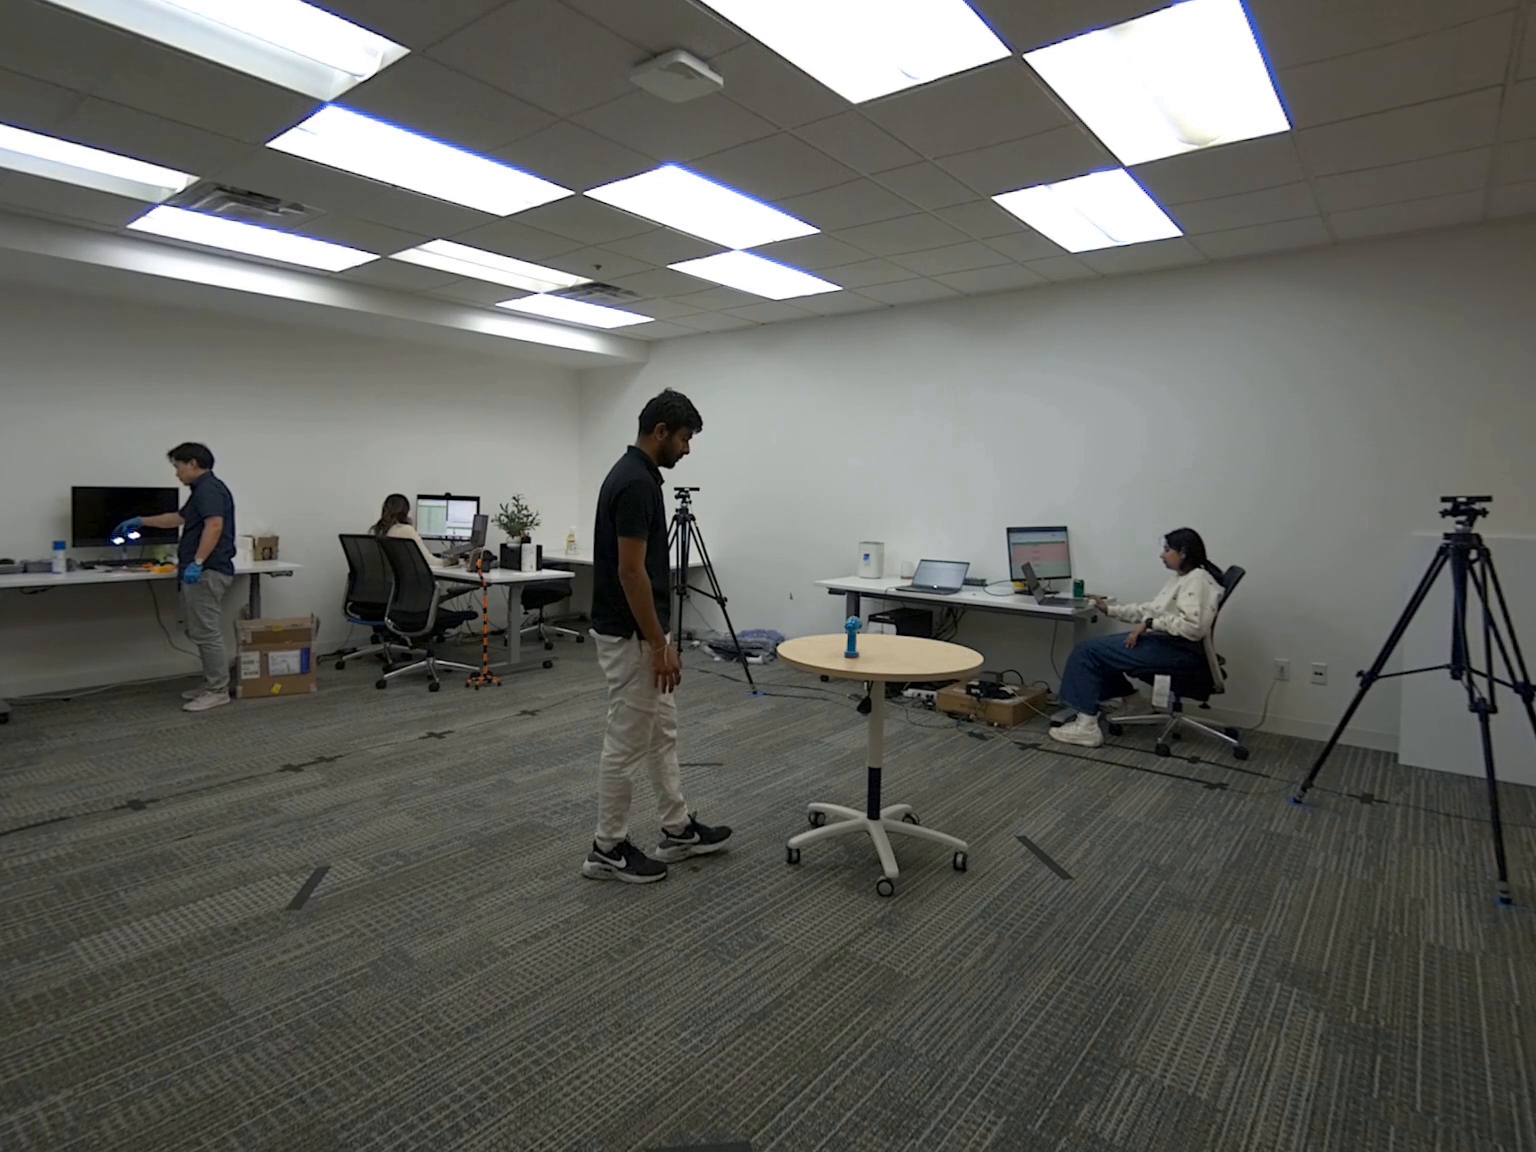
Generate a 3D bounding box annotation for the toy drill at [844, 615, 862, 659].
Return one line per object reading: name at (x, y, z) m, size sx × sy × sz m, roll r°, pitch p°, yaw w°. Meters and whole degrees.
toy drill at (0.312, 0.219, 3.151) m, size 0.062 × 0.145 × 0.168 m, roll 2°, pitch 6°, yaw 12°
